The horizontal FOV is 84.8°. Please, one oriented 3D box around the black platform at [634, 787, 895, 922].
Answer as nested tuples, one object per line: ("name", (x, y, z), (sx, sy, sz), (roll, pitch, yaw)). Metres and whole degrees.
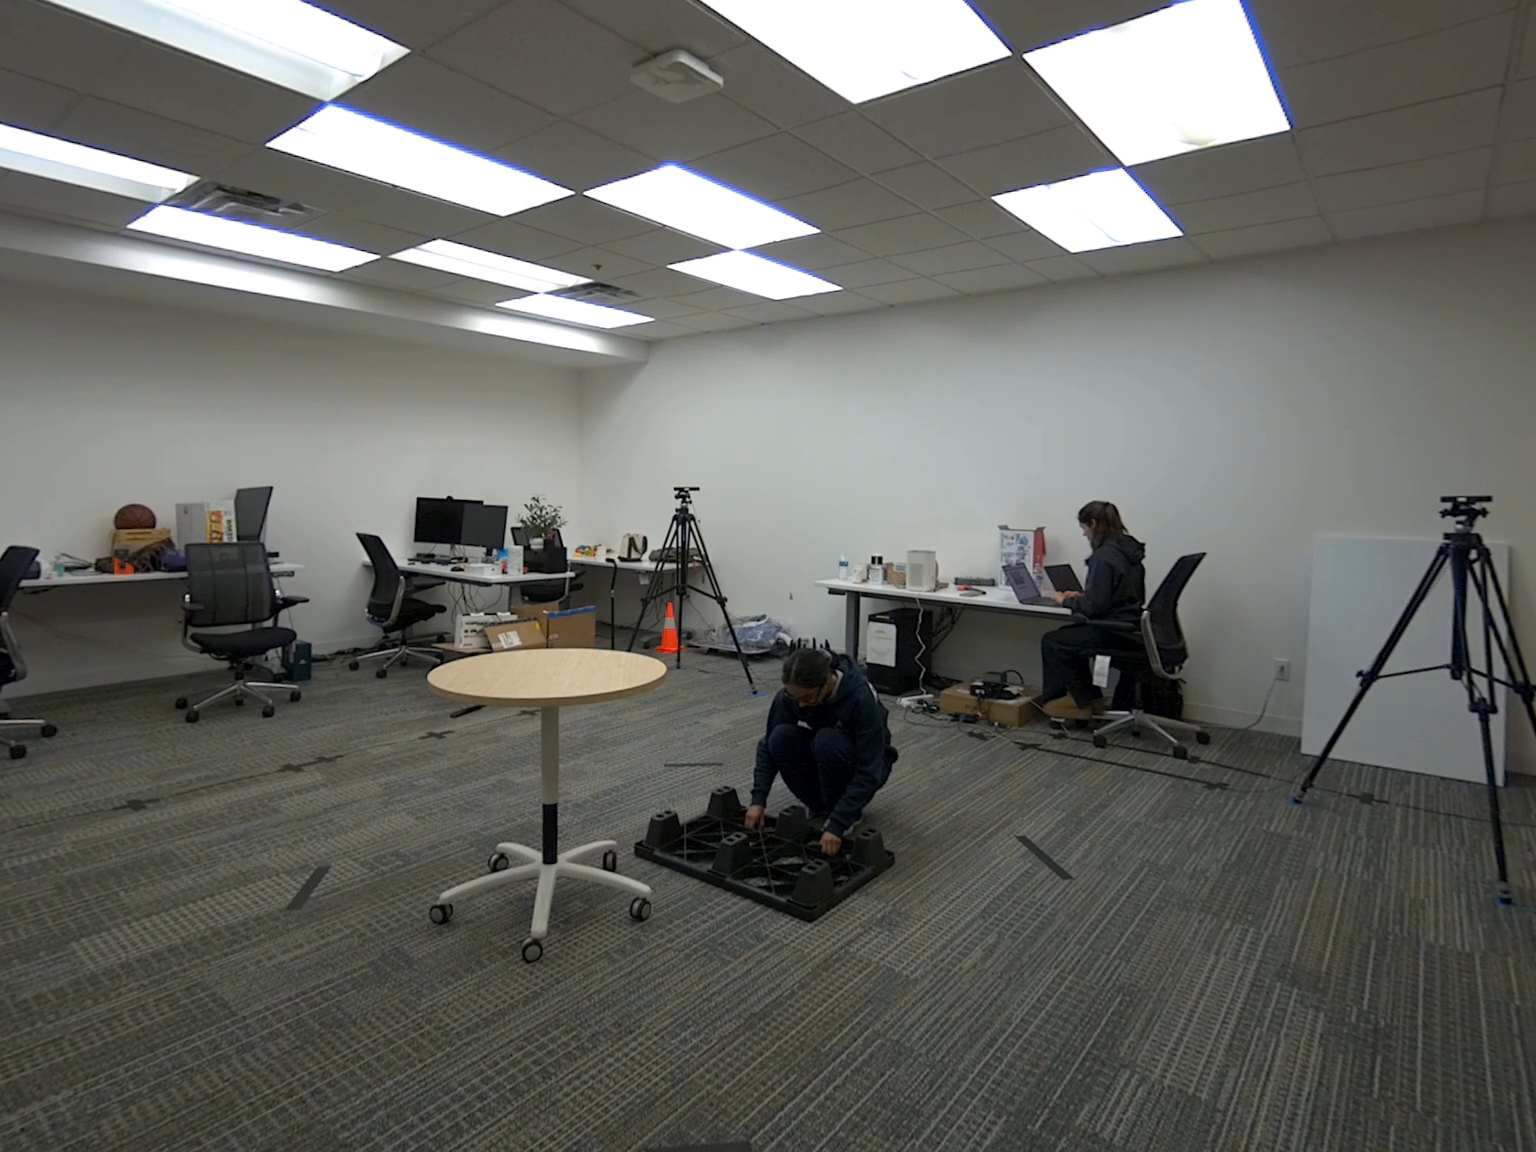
("black platform", (-0.032, 0.995, 3.199), (0.832, 0.143, 0.588), (5, 7, 36))
